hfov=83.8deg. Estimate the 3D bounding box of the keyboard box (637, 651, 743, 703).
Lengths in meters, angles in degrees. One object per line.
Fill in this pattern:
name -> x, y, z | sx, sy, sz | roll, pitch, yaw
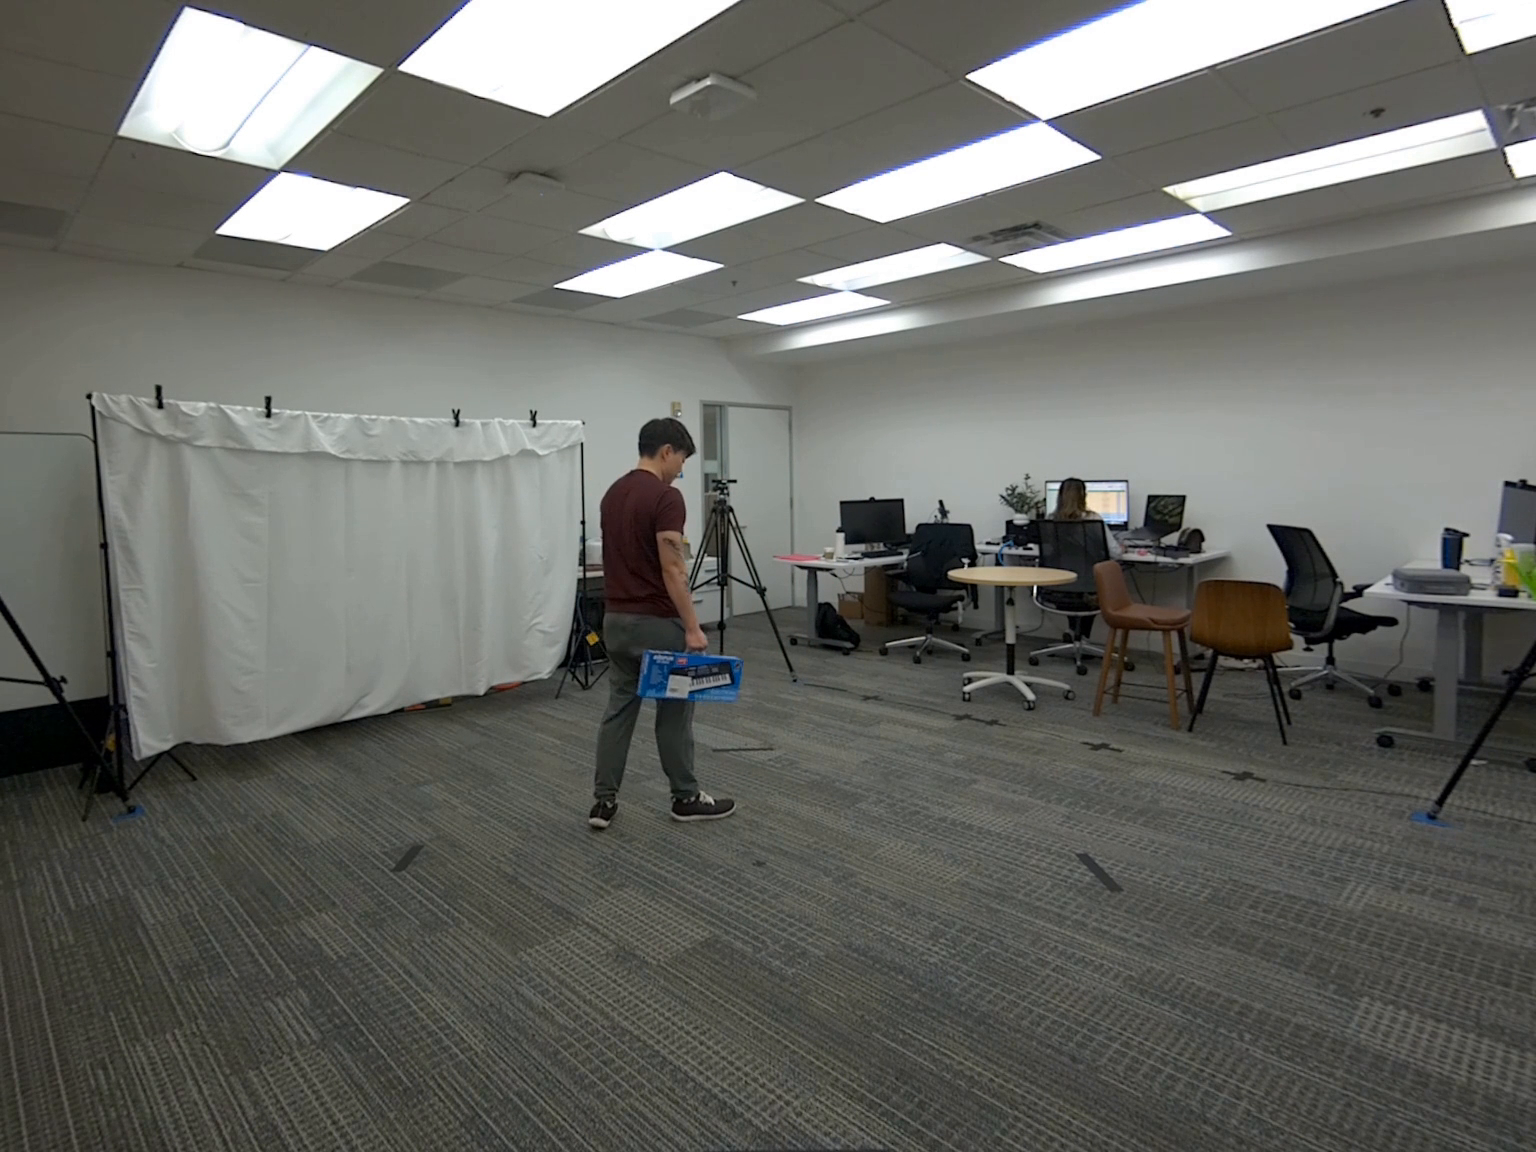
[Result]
keyboard box -> -0.295, 0.390, 3.322 | 0.423, 0.176, 0.061 | 9, -1, -36
